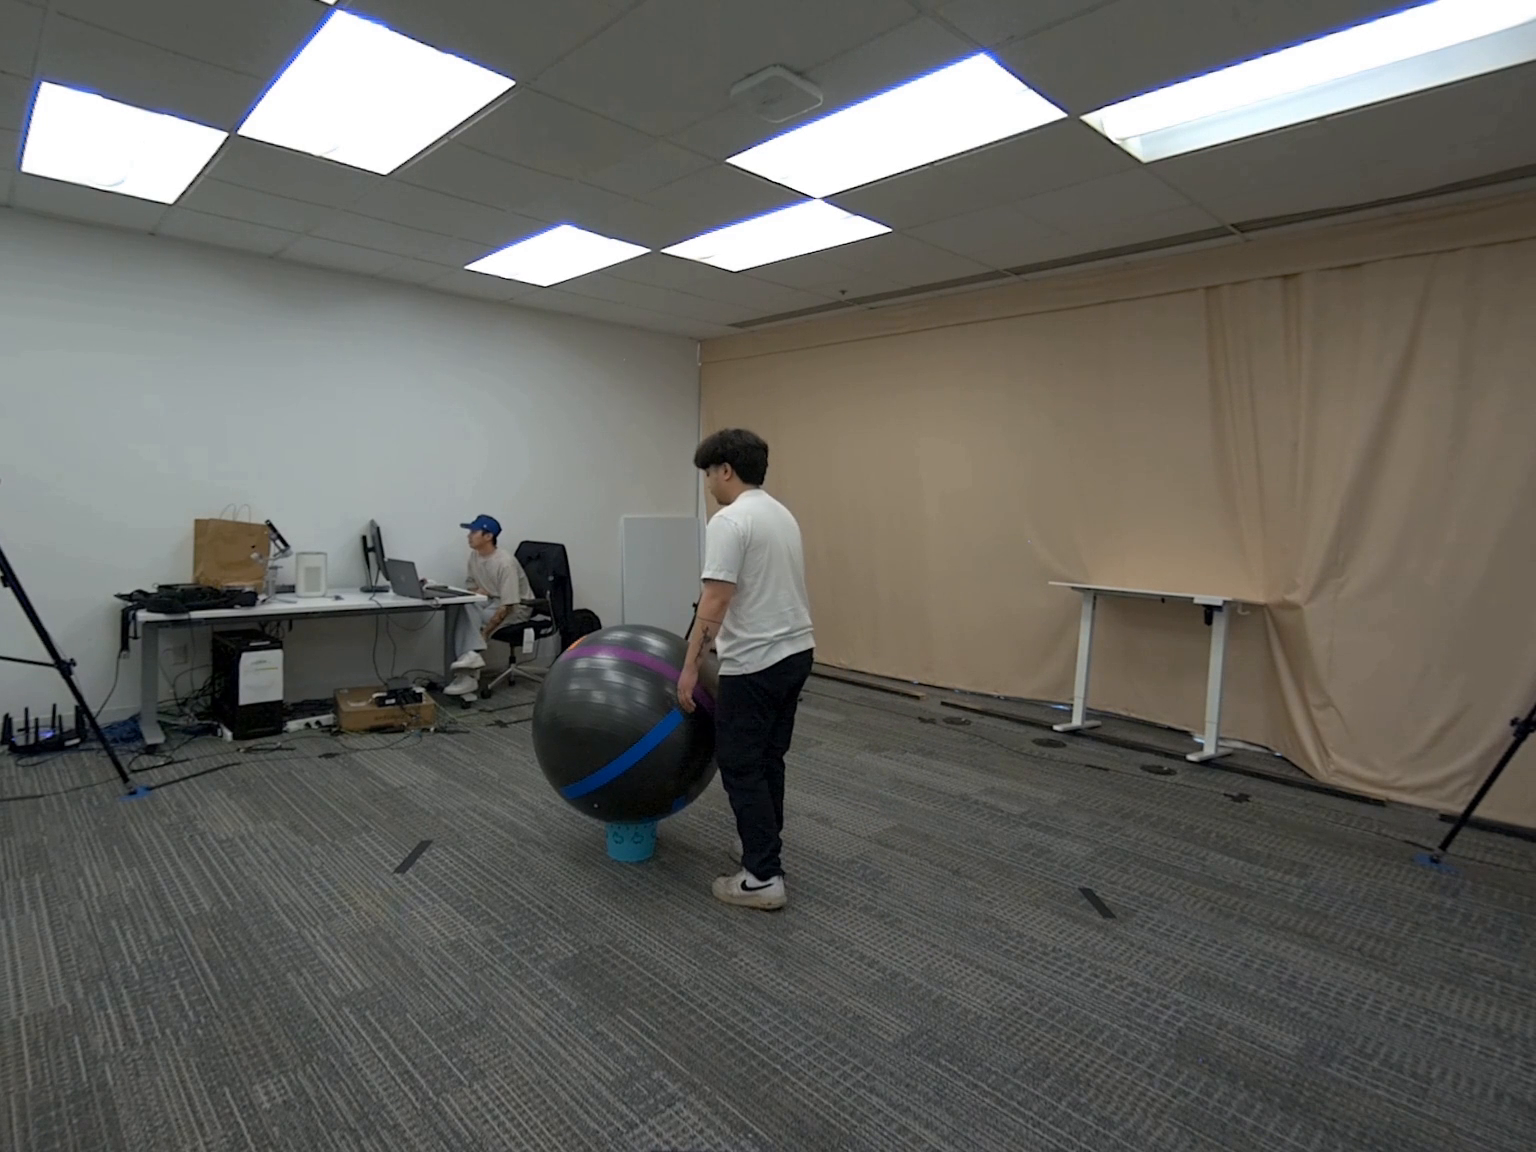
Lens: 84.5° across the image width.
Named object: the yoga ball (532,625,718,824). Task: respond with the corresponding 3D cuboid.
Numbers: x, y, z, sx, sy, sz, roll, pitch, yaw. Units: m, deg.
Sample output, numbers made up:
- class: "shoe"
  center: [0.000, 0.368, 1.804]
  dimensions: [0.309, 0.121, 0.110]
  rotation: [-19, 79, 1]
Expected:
- class: "yoga ball"
  center: [-0.531, 0.568, 3.274]
  dimensions: [0.757, 0.756, 0.760]
  rotation: [1, 4, -1]
